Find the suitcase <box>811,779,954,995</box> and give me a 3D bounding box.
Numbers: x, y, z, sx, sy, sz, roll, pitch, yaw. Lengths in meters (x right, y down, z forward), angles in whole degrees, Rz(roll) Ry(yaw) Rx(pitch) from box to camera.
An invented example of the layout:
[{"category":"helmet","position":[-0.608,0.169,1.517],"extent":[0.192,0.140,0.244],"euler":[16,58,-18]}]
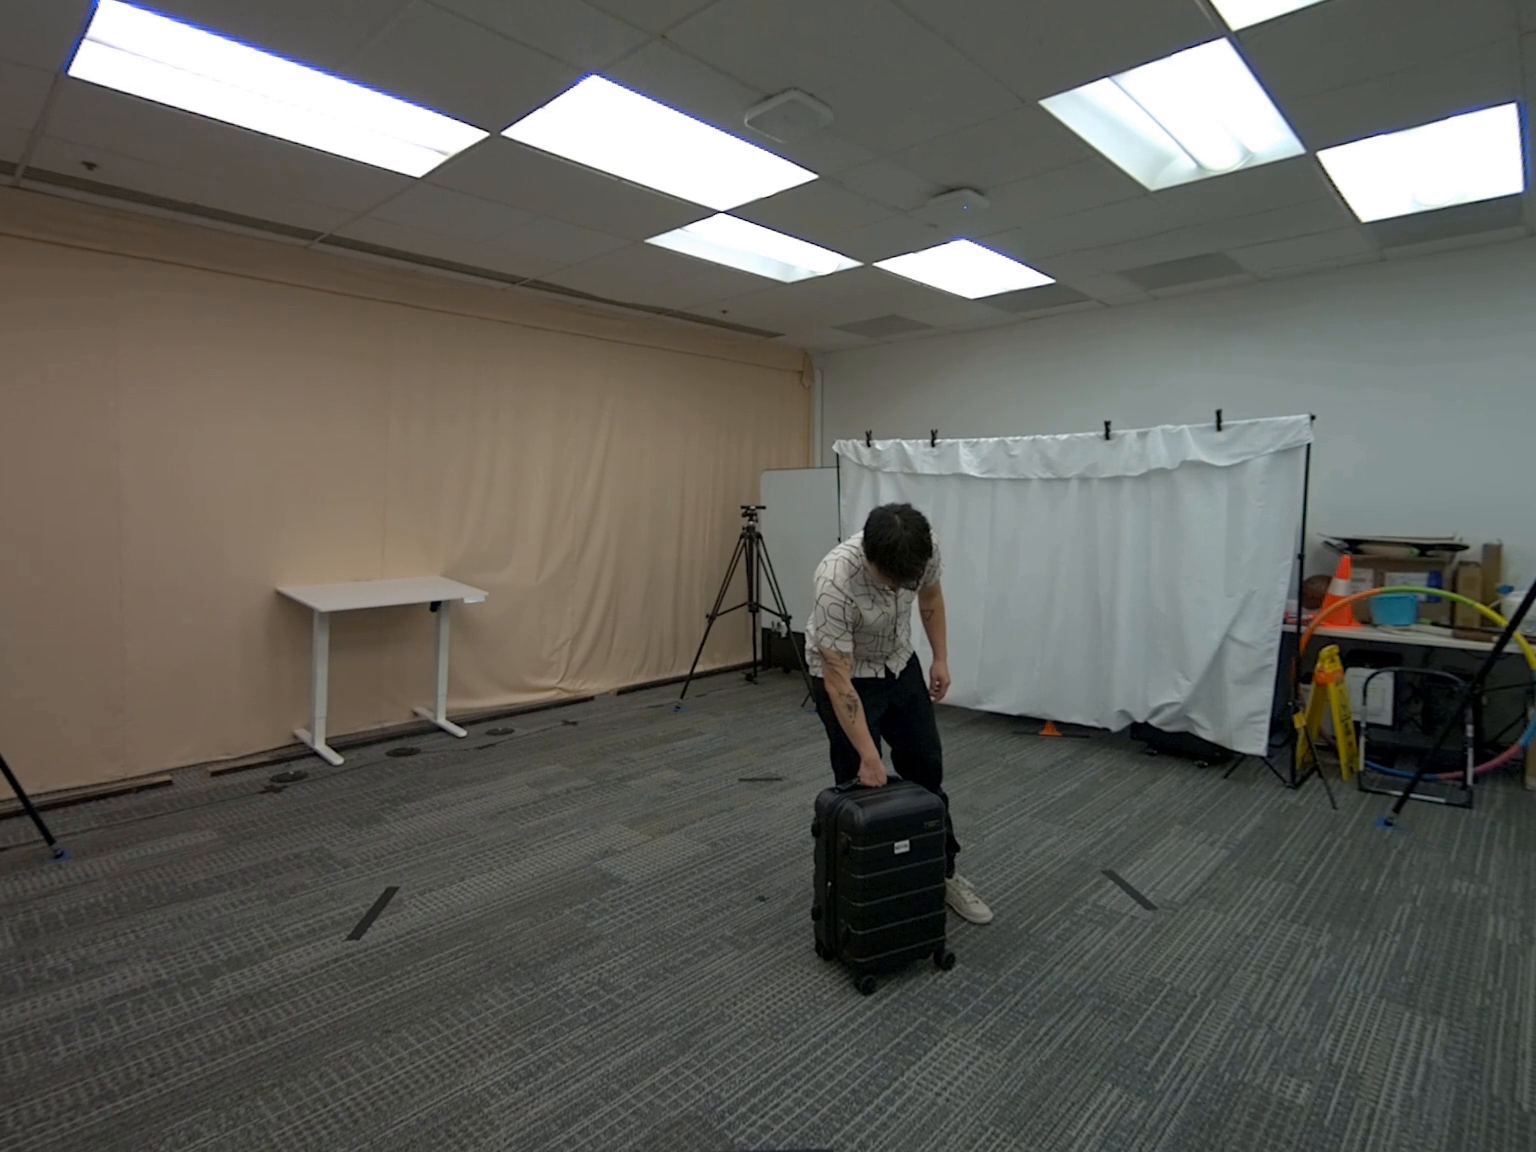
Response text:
[{"category":"suitcase","position":[0.343,0.899,2.544],"extent":[0.366,0.548,0.255],"euler":[-2,3,-26]}]
